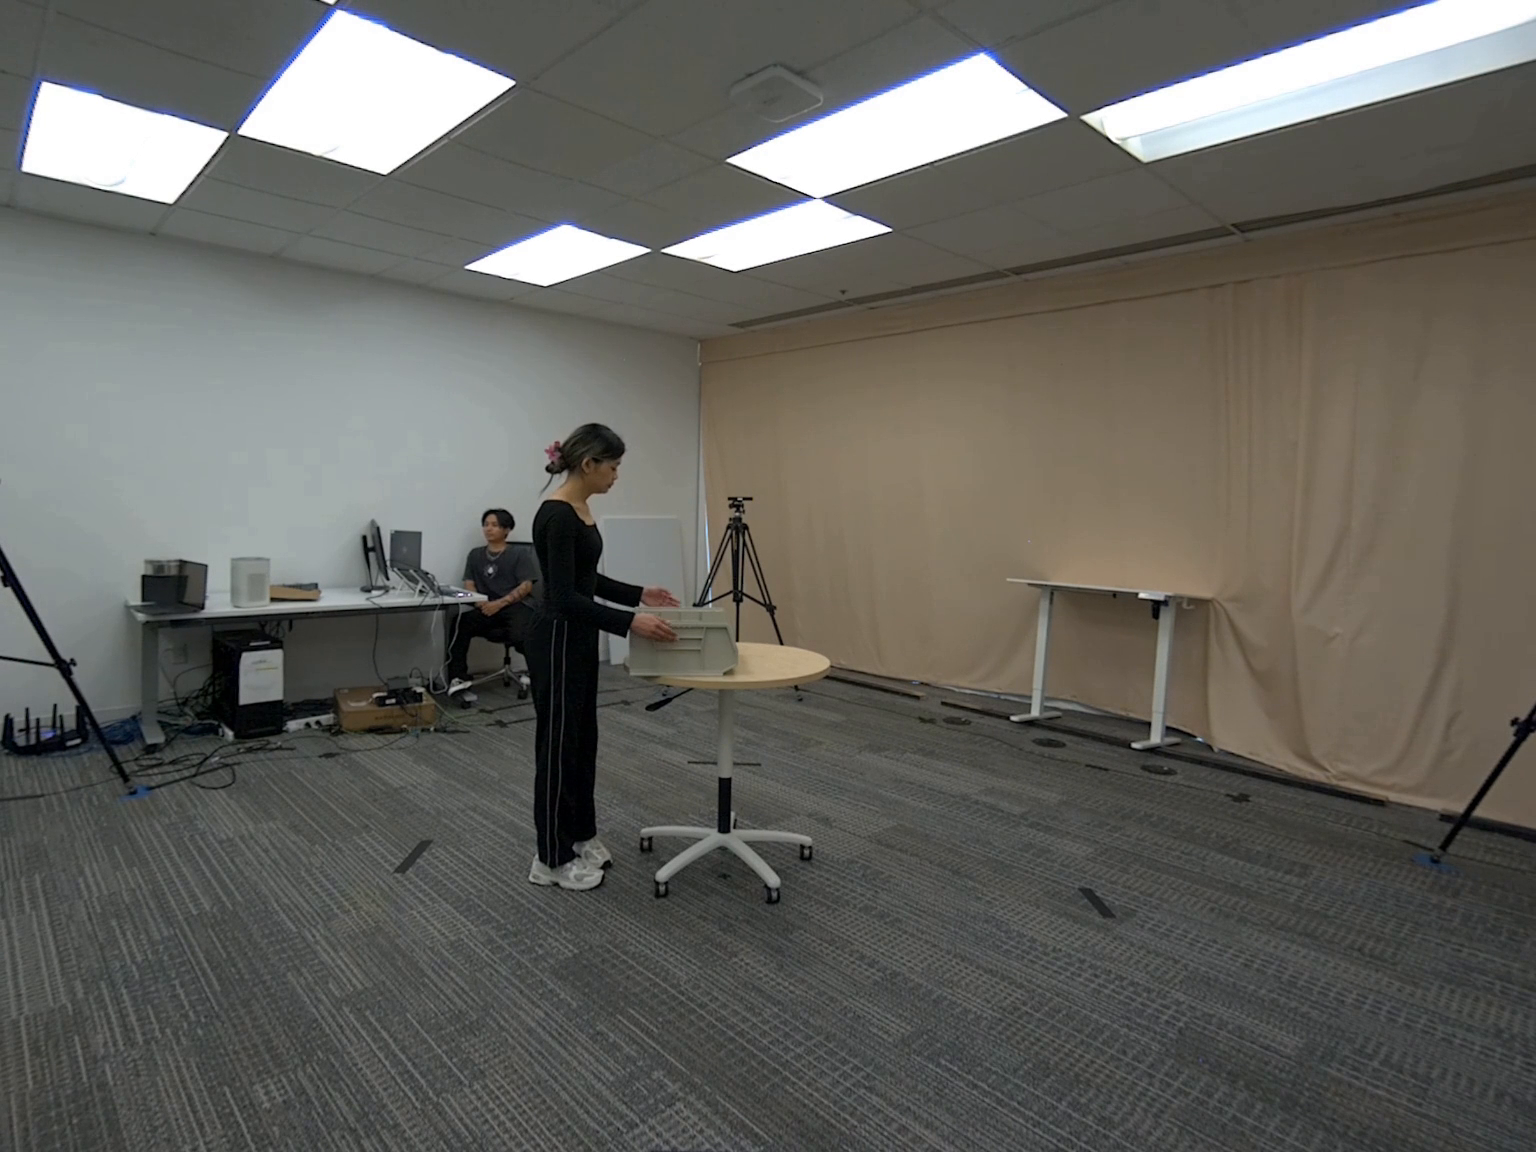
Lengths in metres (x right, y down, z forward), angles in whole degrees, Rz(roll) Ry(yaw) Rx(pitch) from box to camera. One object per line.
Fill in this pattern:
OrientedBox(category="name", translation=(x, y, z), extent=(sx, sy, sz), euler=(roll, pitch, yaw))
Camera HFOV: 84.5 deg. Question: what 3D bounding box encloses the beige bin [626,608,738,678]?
OrientedBox(category="beige bin", translation=(-0.307, 0.226, 3.027), extent=(0.376, 0.188, 0.425), euler=(1, 6, -3))
